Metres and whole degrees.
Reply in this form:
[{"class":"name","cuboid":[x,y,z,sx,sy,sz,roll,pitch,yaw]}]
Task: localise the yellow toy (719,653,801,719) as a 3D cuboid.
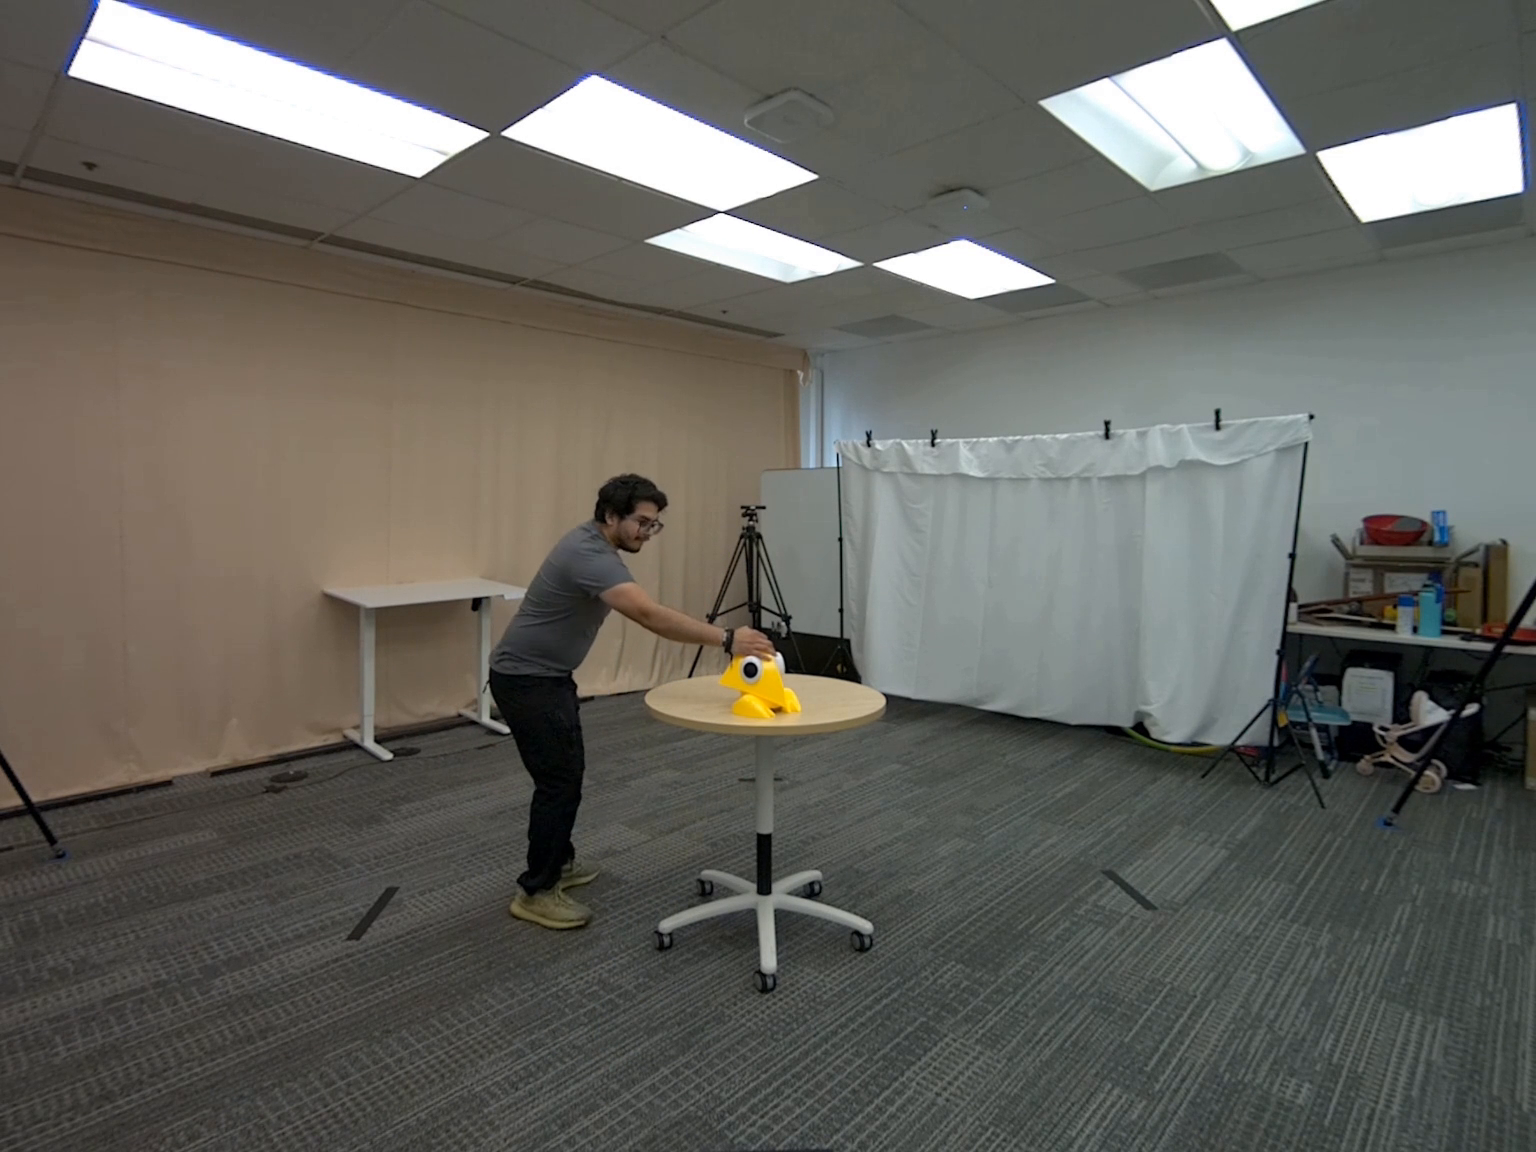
[{"class":"yellow toy","cuboid":[-0.007,0.286,2.506,0.198,0.230,0.199,-3,5,-42]}]
